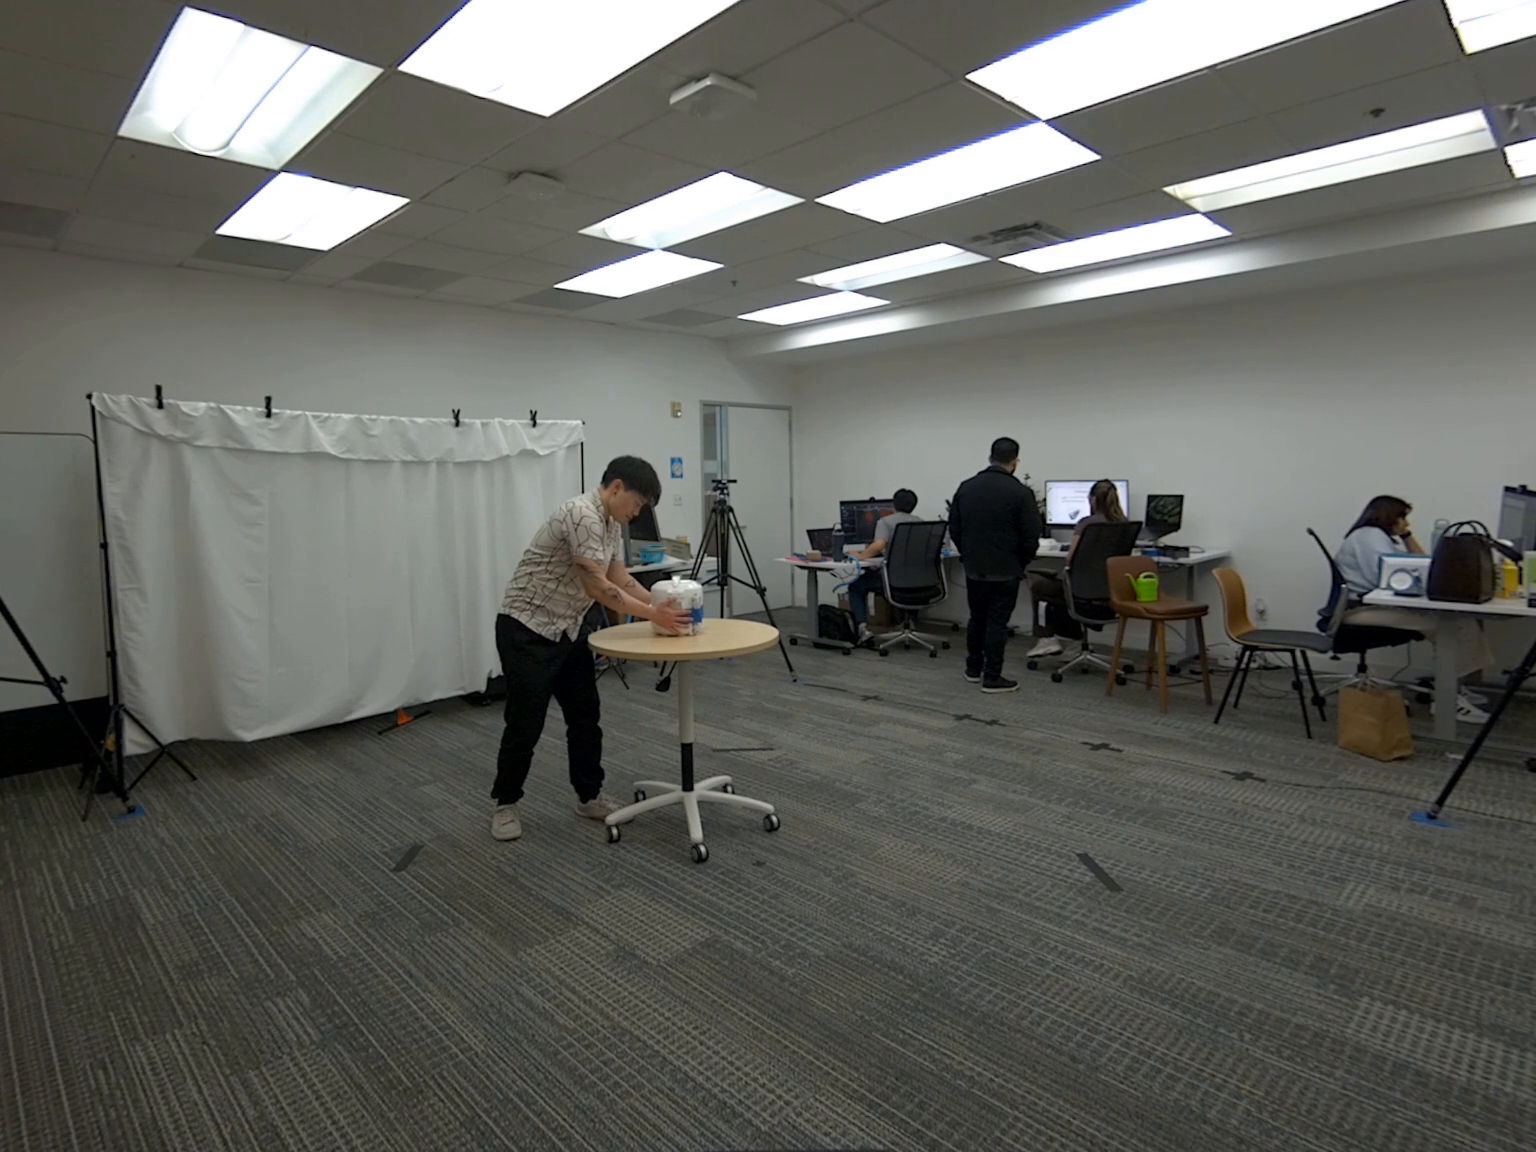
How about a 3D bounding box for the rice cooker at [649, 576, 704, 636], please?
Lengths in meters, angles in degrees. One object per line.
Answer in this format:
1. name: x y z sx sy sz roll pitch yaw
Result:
1. rice cooker: -0.372 0.115 3.463 0.217 0.232 0.221 0 4 -1
